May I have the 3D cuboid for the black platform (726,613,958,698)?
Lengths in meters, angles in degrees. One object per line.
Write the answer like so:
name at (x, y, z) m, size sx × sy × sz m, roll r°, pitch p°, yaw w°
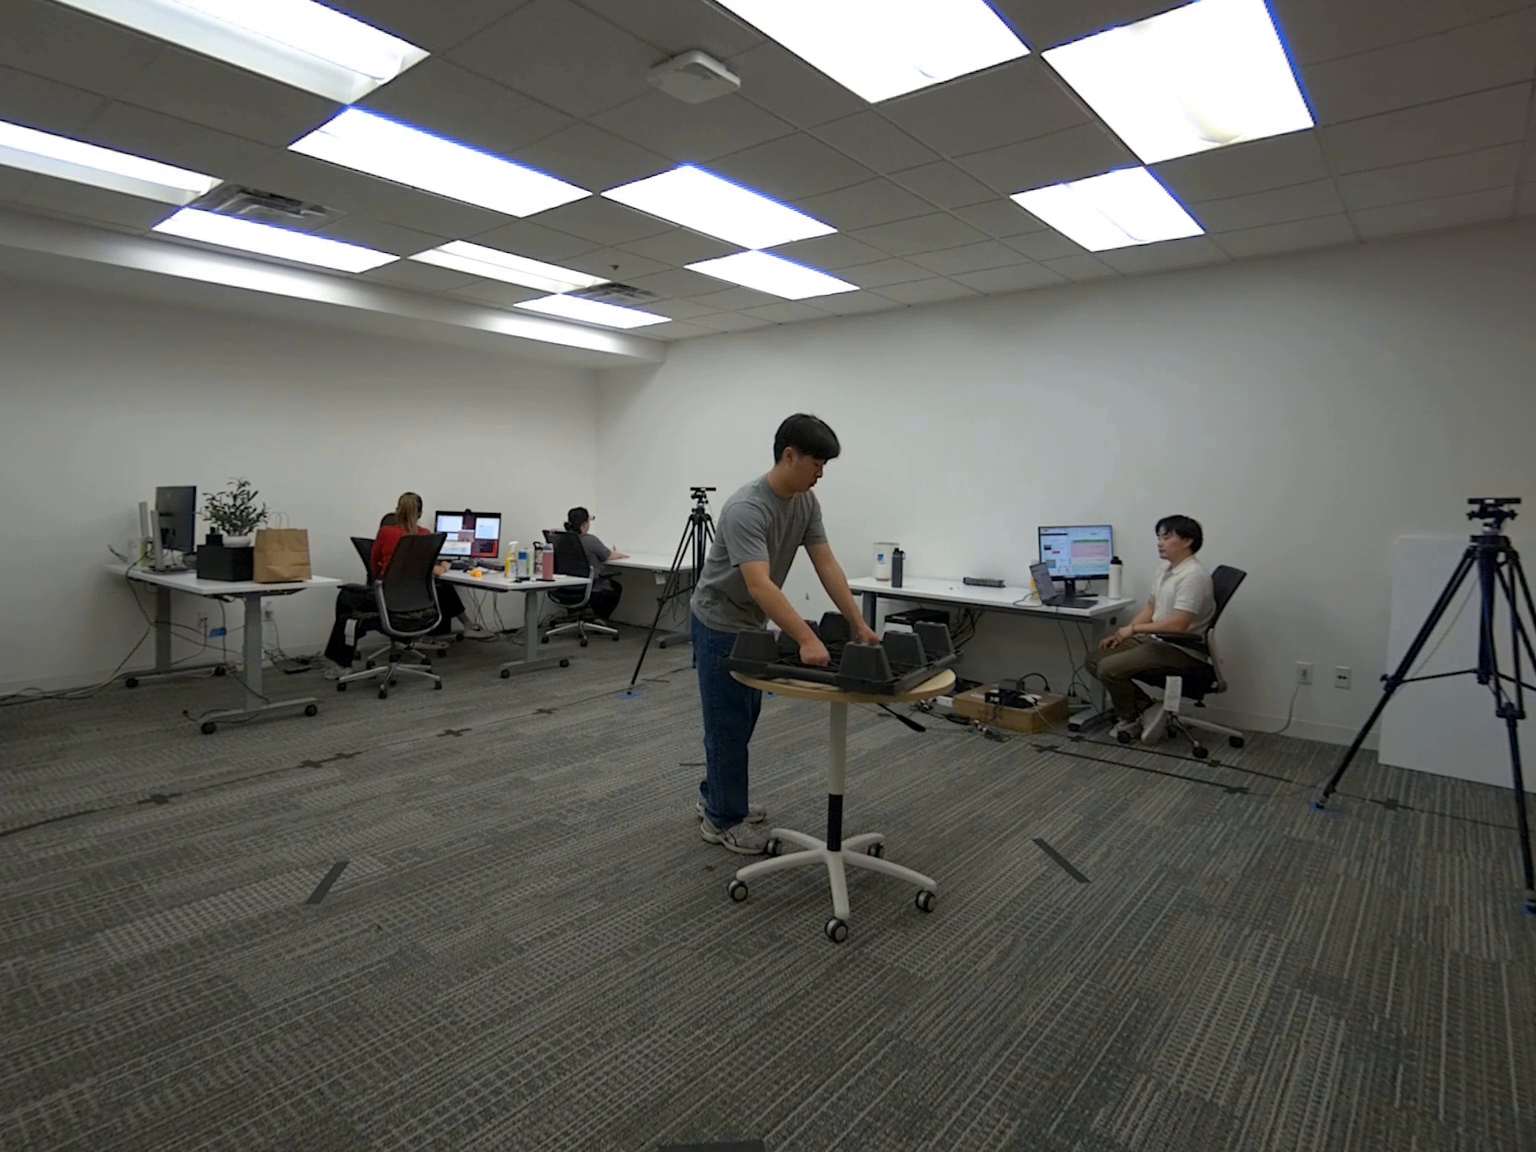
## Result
black platform at (0.273, 0.244, 2.955) m, size 0.623 × 0.143 × 0.784 m, roll 6°, pitch 6°, yaw 29°
